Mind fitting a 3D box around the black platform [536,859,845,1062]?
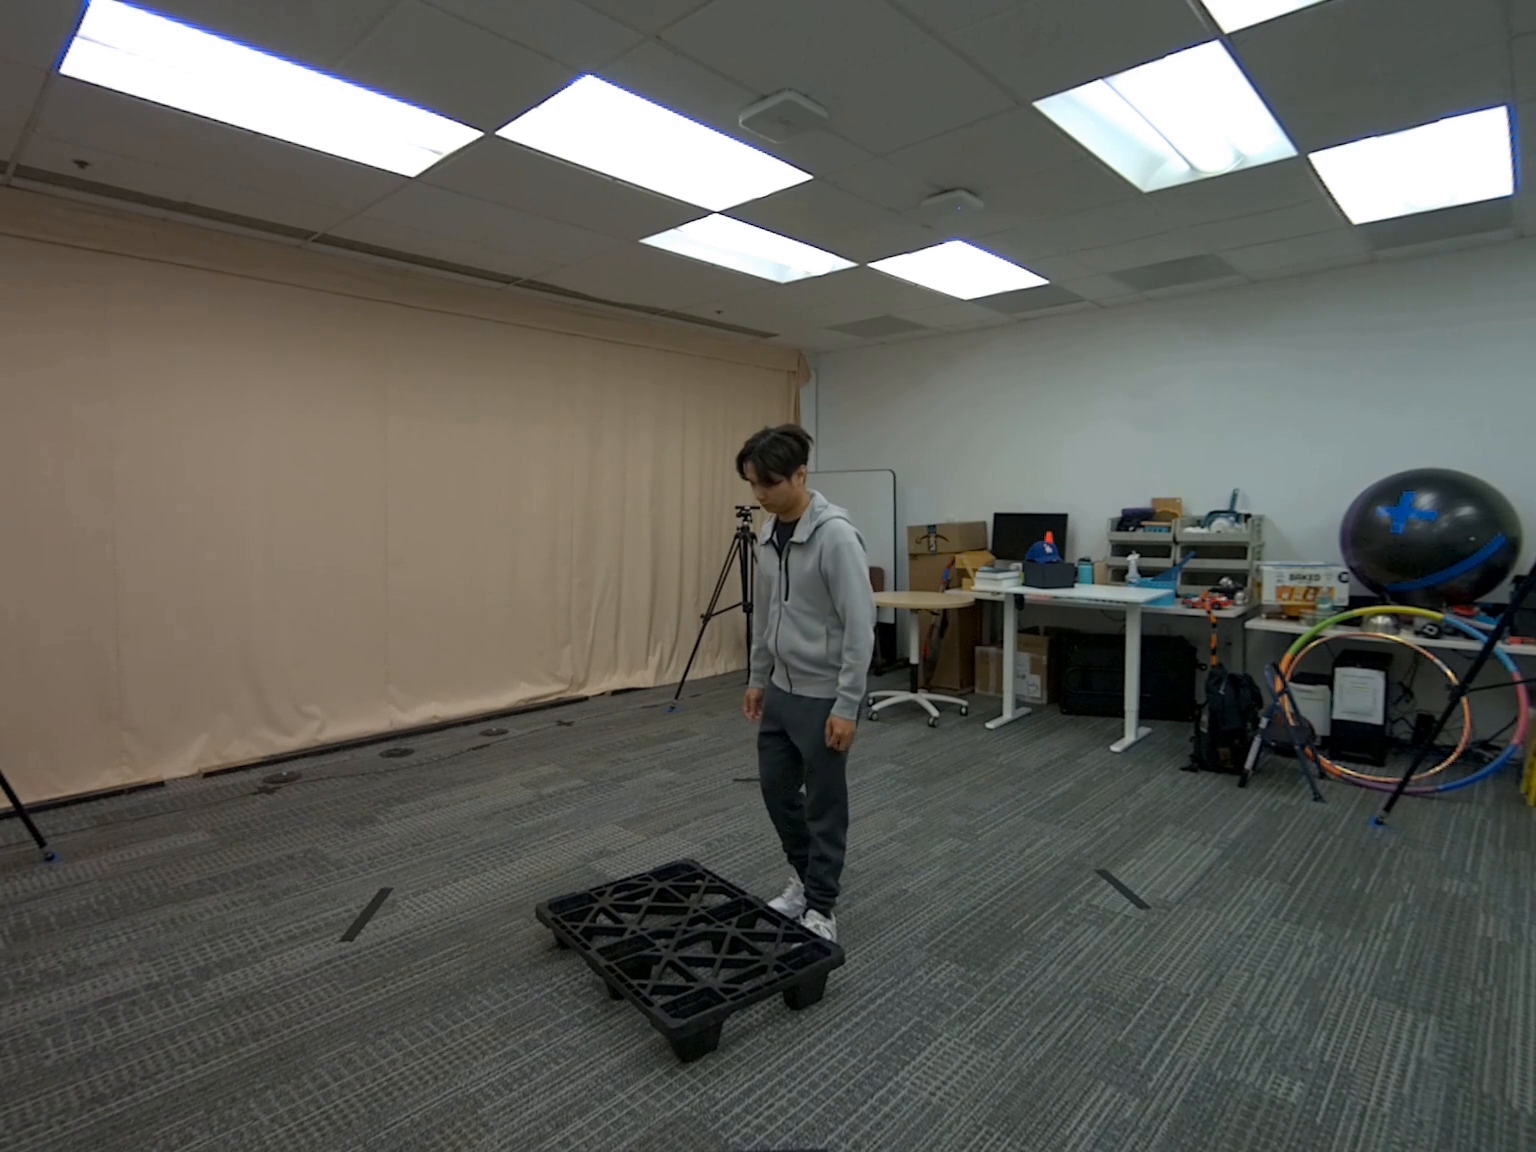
[{"bbox_3d":[-0.259,1.119,2.527,0.587,0.143,0.832,-3,6,-38],"label":"black platform"}]
